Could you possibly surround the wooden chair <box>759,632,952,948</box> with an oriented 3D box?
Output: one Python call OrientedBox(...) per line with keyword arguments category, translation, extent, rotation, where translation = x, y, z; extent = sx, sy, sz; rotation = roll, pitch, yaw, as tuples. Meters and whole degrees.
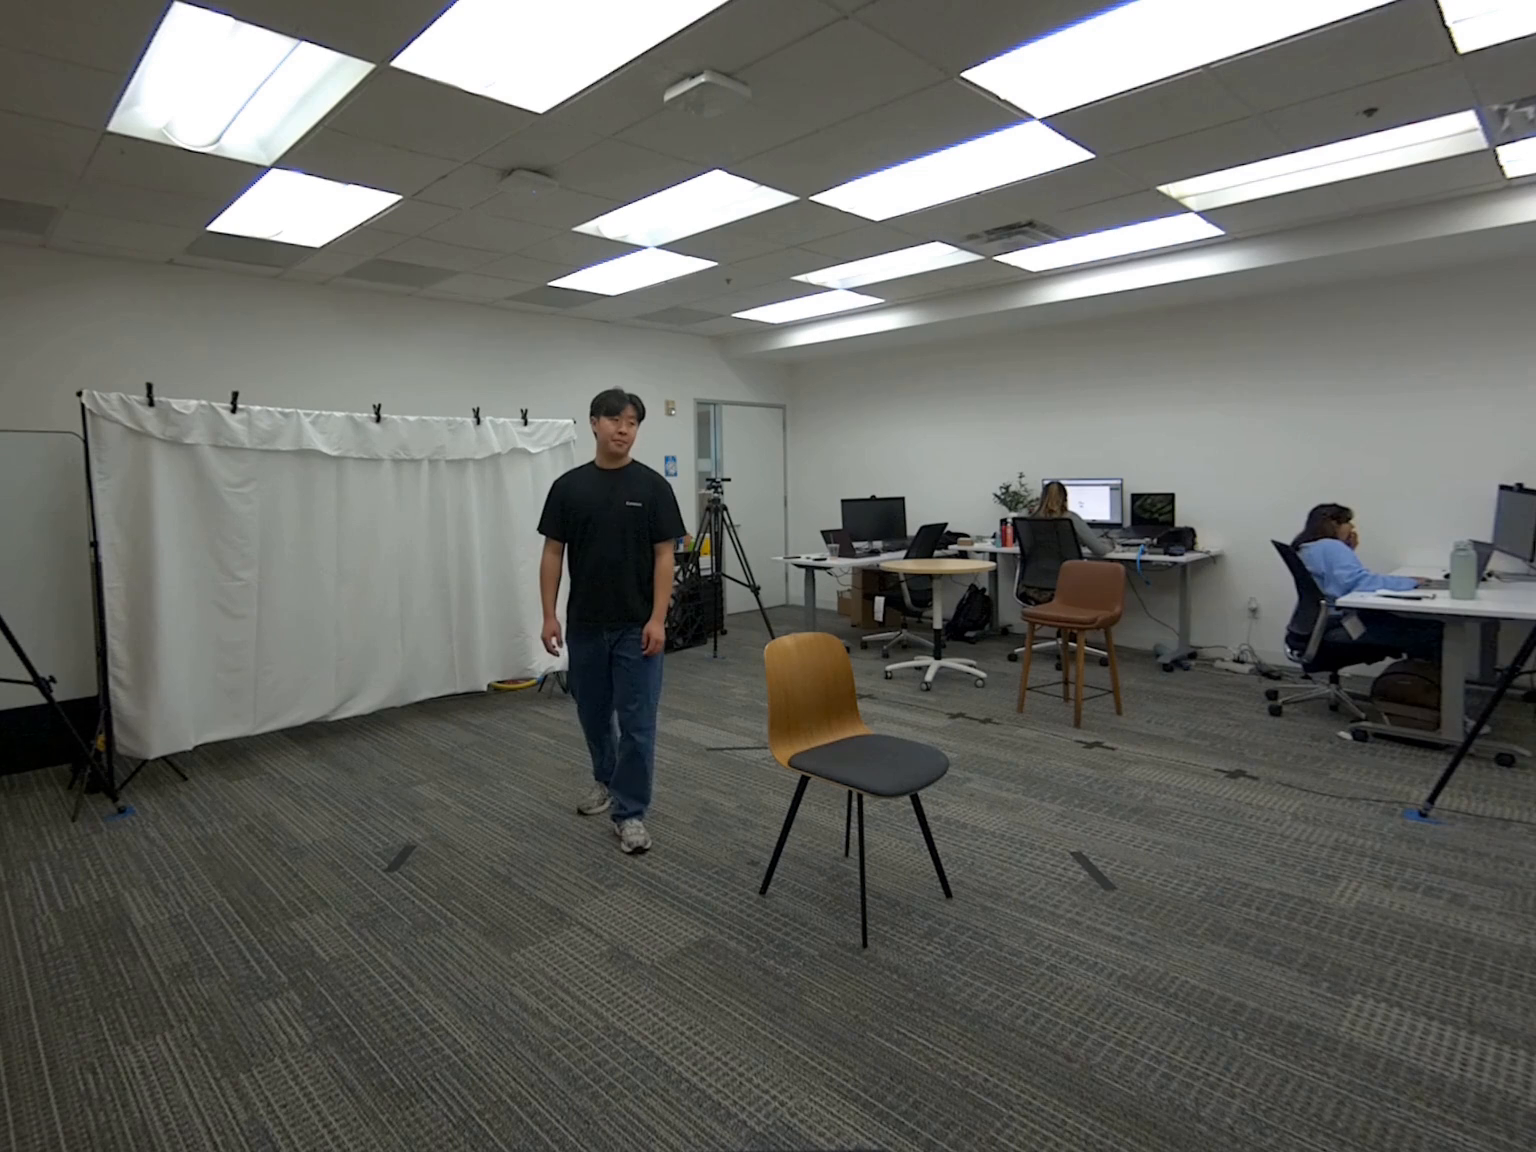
OrientedBox(category="wooden chair", translation=(0.291, 0.642, 2.805), extent=(0.465, 0.877, 0.537), rotation=(-4, 1, -43))
